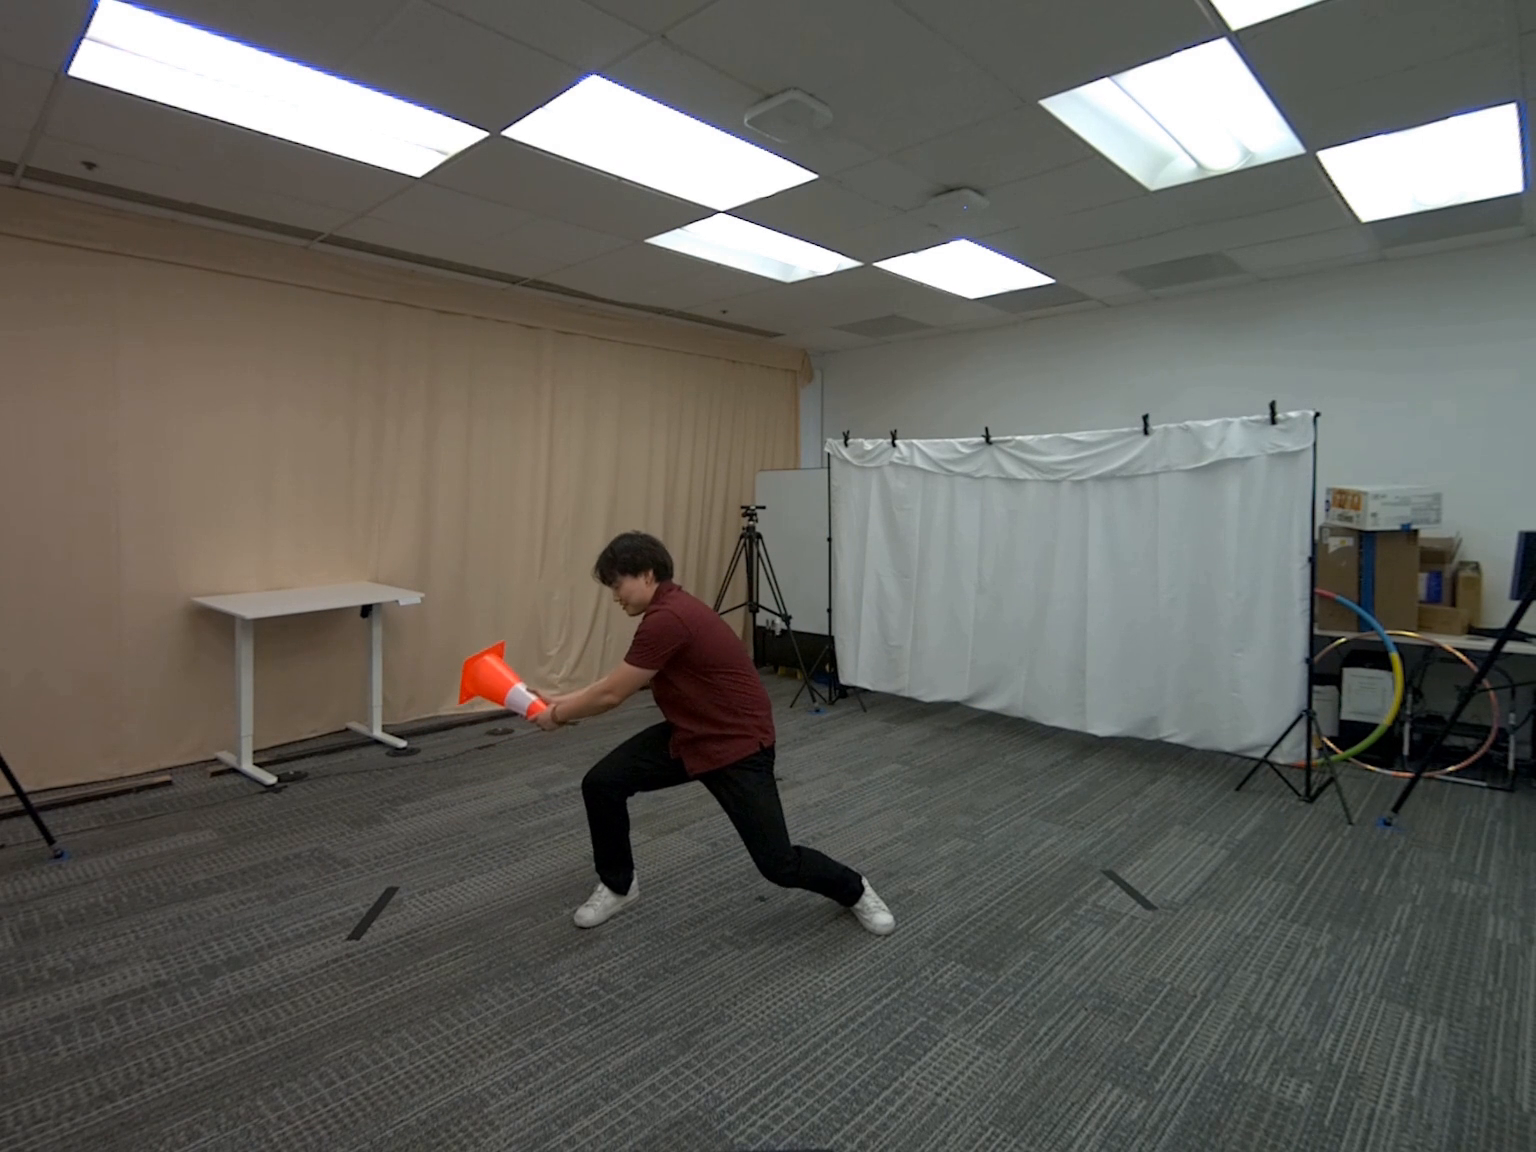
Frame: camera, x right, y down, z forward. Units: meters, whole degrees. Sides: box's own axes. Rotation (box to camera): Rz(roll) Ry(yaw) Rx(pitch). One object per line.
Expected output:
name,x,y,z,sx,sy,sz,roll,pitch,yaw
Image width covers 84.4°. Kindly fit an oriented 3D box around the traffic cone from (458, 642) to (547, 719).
traffic cone,-0.856,0.430,2.908,0.393,0.203,0.200,25,35,20
